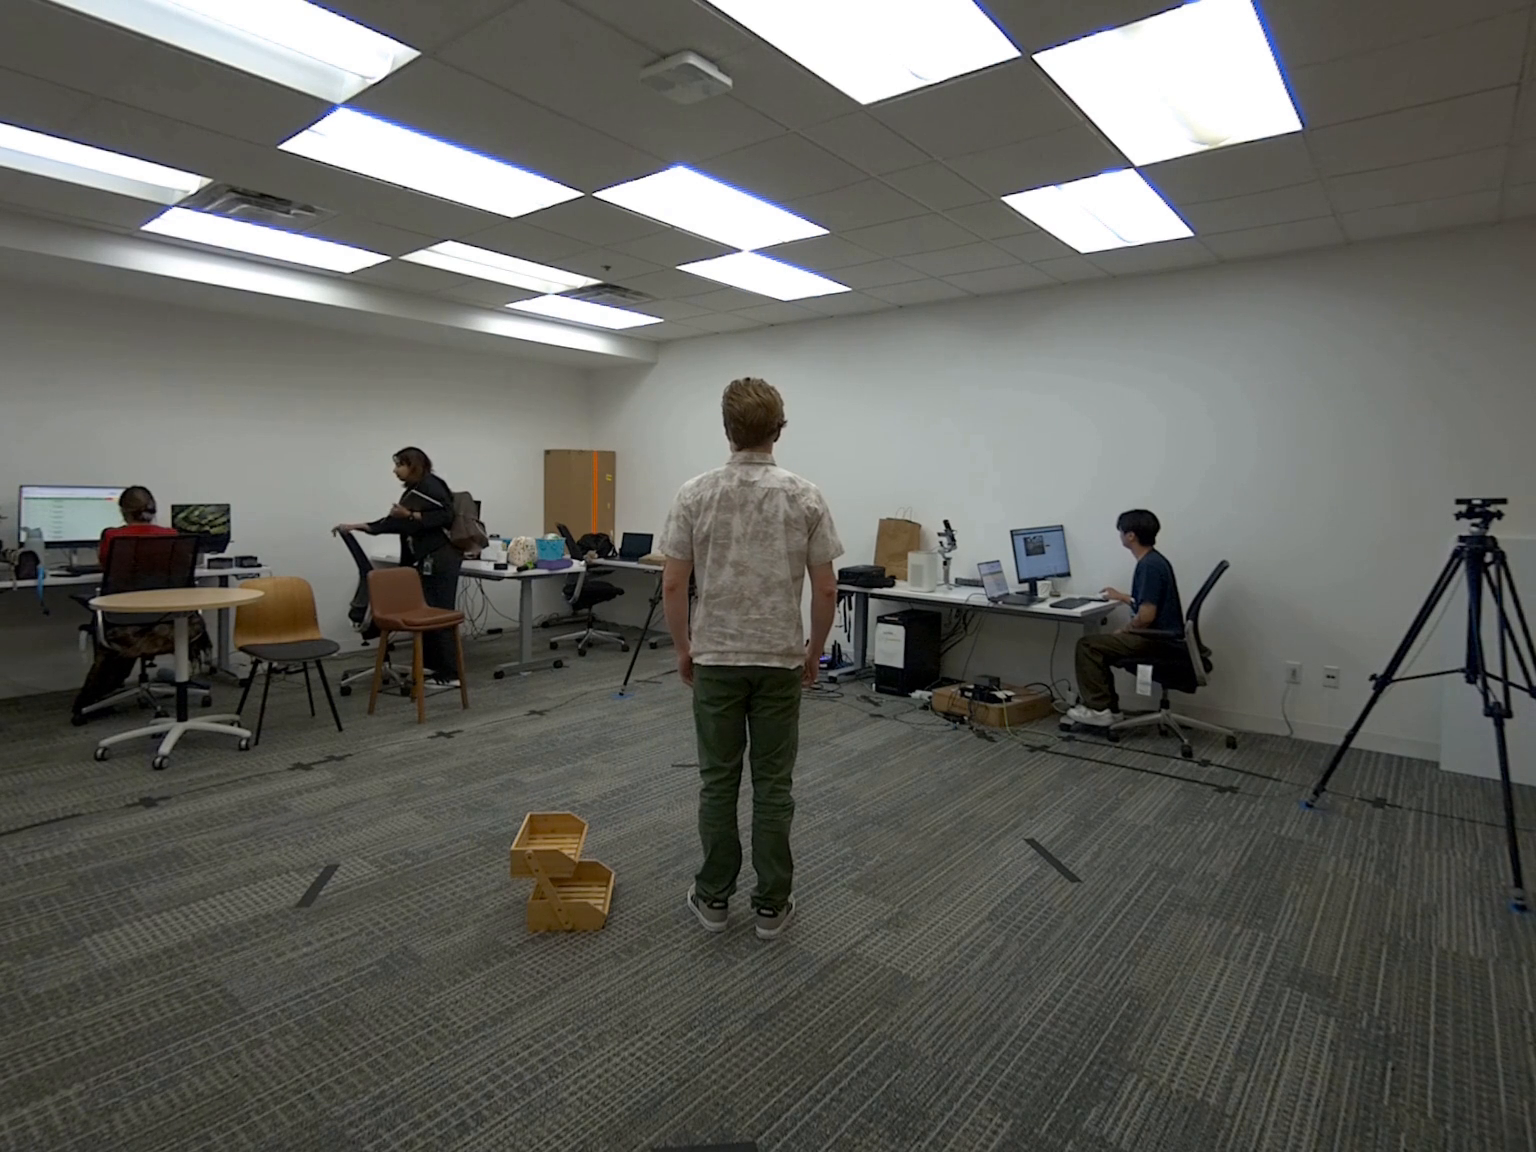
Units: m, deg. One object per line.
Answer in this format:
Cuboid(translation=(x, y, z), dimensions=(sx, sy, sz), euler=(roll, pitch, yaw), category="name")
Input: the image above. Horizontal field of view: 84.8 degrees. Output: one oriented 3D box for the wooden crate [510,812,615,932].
Cuboid(translation=(-0.673, 0.957, 2.803), dimensions=(0.301, 0.272, 0.327), euler=(0, 4, -5), category="wooden crate")
